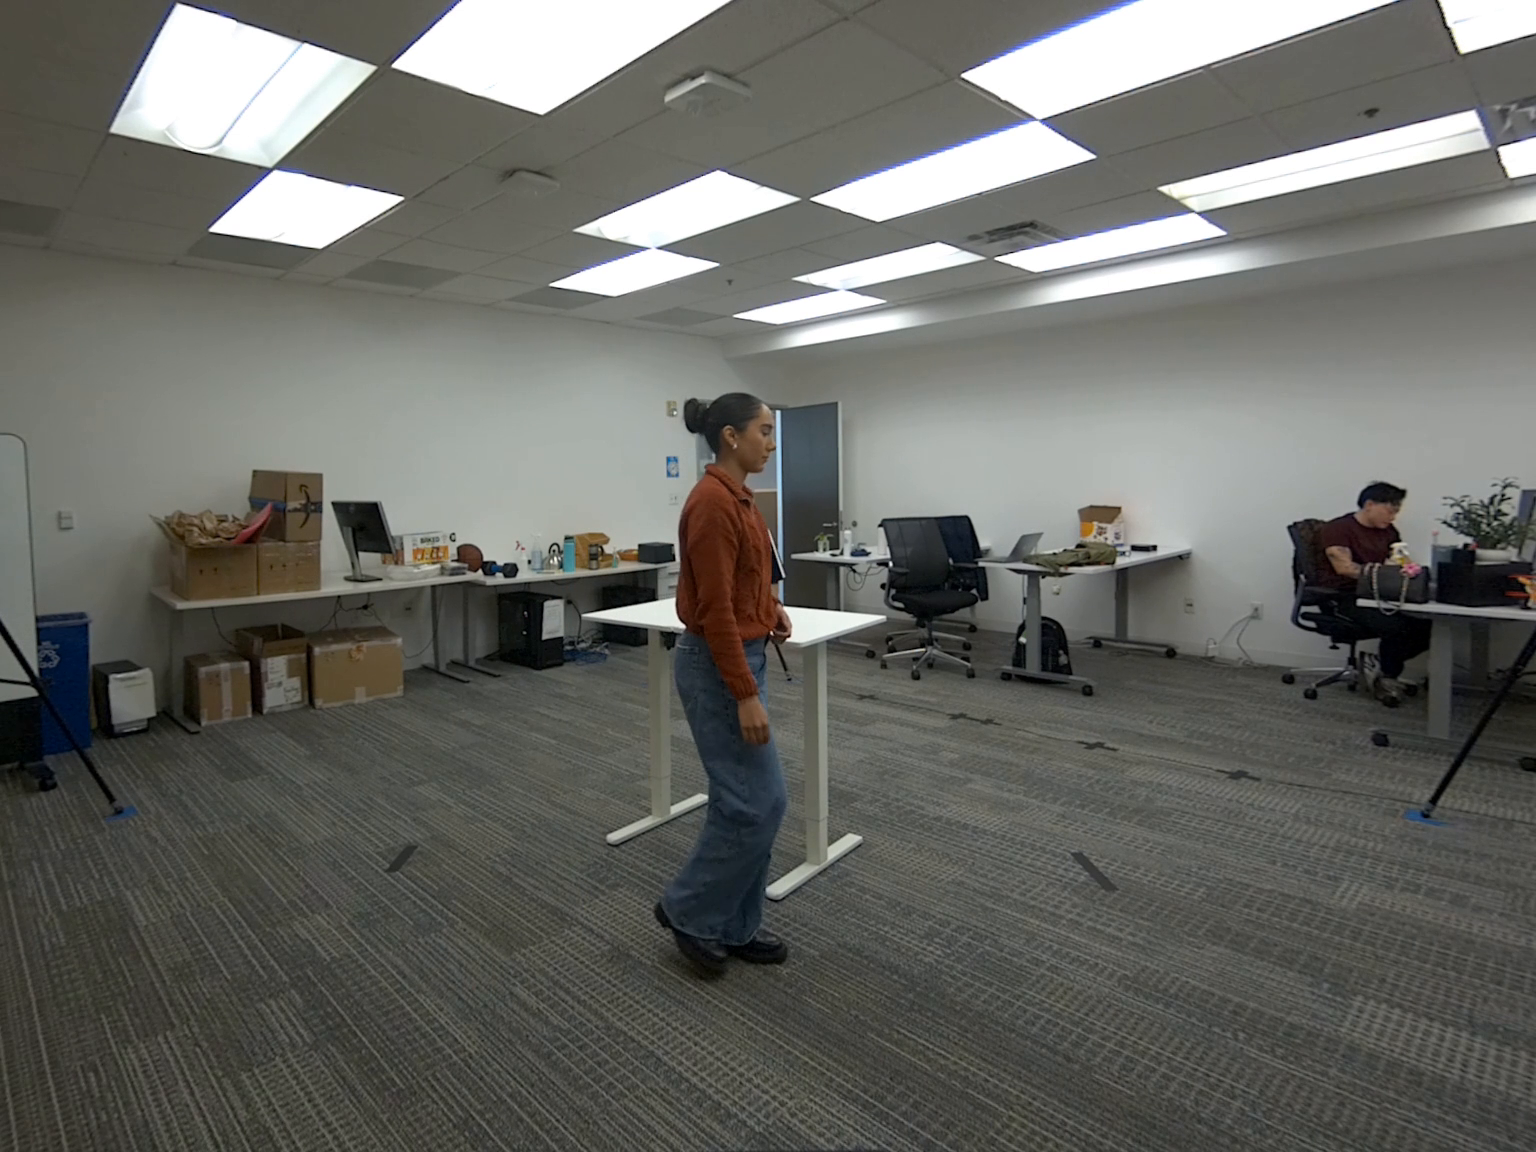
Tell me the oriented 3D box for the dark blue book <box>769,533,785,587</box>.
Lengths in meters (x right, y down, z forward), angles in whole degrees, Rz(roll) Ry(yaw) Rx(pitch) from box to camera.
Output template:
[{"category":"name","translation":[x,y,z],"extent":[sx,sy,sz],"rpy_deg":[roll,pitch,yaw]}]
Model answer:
[{"category":"dark blue book","translation":[-0.079,-0.033,2.623],"extent":[0.247,0.163,0.045],"rpy_deg":[-18,4,10]}]
